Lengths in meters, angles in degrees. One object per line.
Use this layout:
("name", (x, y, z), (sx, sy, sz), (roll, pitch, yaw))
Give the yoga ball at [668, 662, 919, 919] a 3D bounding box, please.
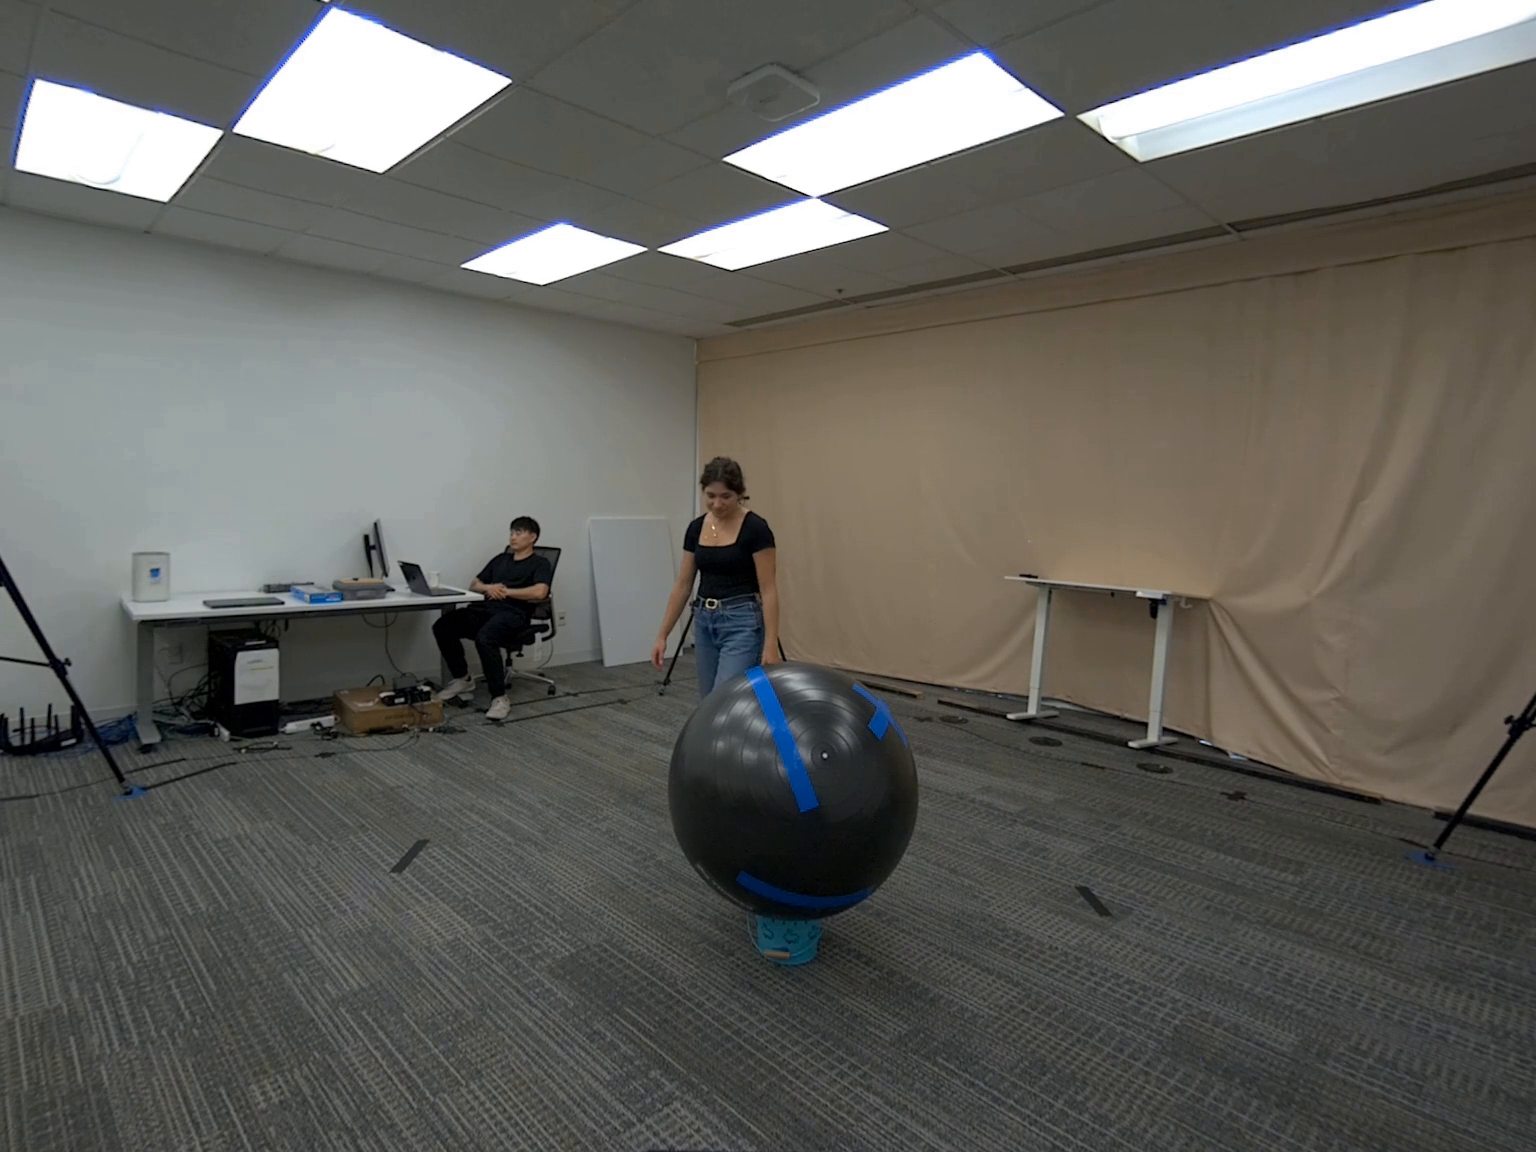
("yoga ball", (0.070, 0.652, 2.577), (0.757, 0.756, 0.761), (1, 4, -1))
